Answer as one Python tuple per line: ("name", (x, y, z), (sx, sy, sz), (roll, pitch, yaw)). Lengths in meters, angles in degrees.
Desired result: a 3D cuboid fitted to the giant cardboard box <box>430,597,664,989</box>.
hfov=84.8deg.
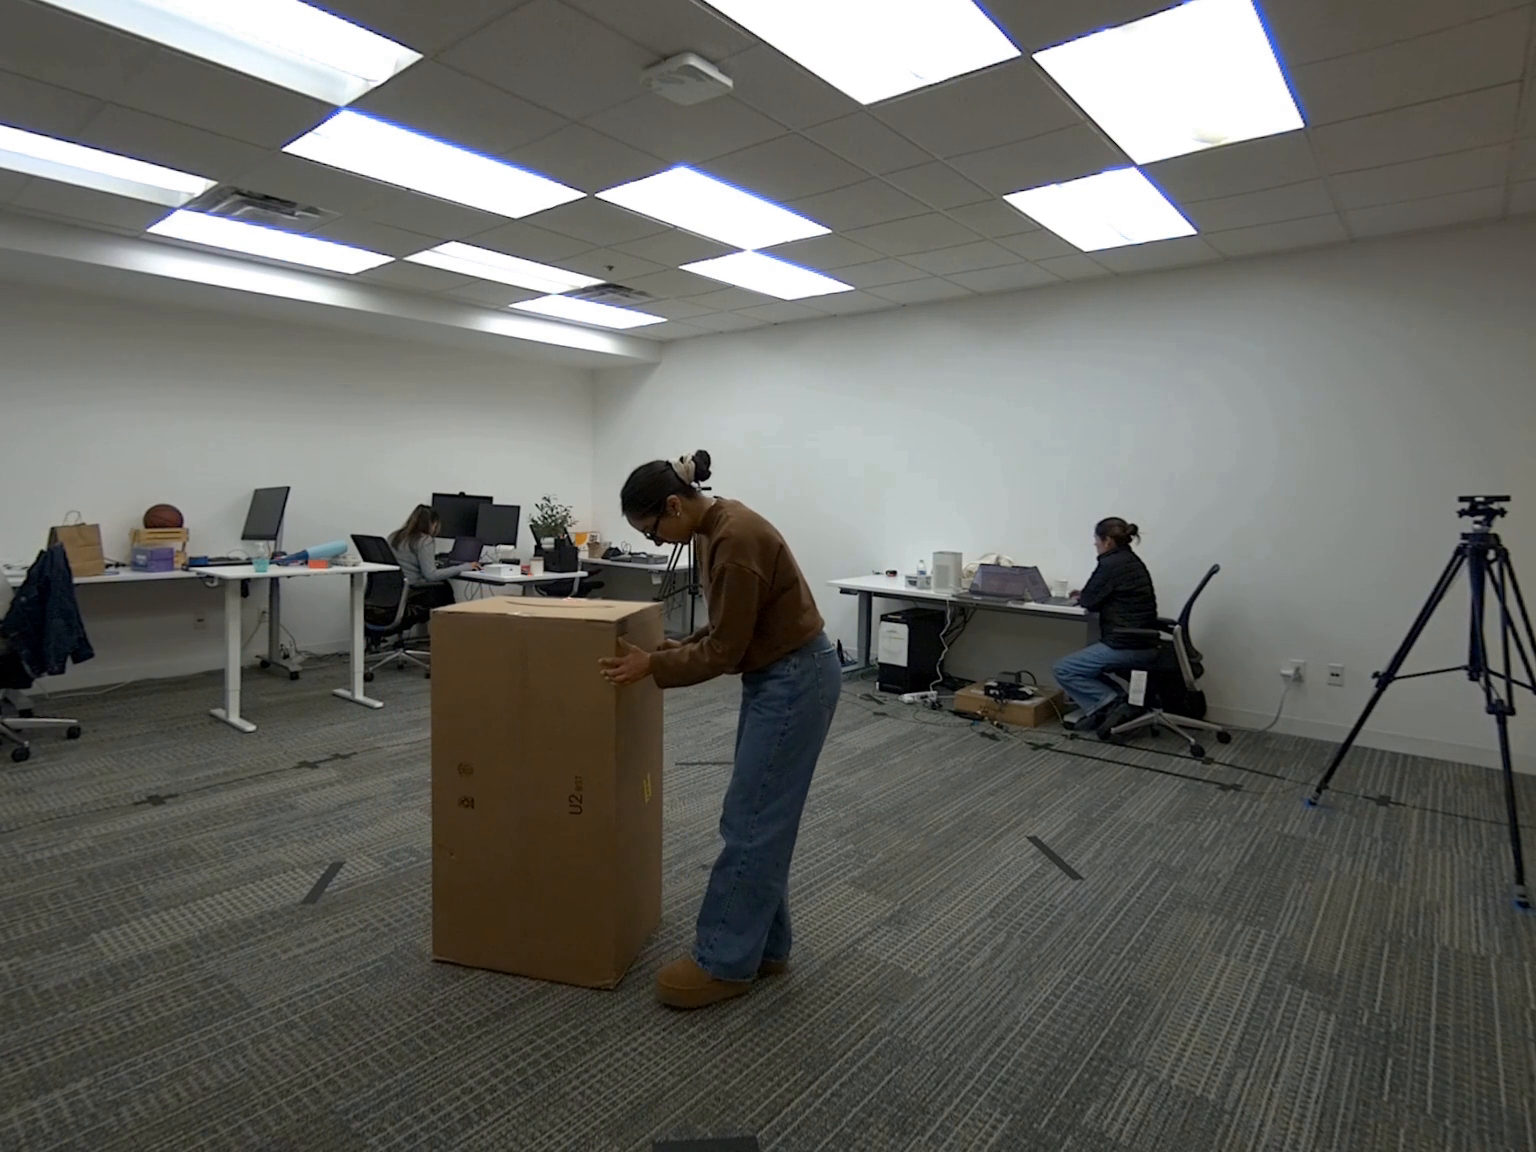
("giant cardboard box", (-0.667, 0.599, 2.592), (0.587, 1.024, 0.420), (1, 2, 14))
